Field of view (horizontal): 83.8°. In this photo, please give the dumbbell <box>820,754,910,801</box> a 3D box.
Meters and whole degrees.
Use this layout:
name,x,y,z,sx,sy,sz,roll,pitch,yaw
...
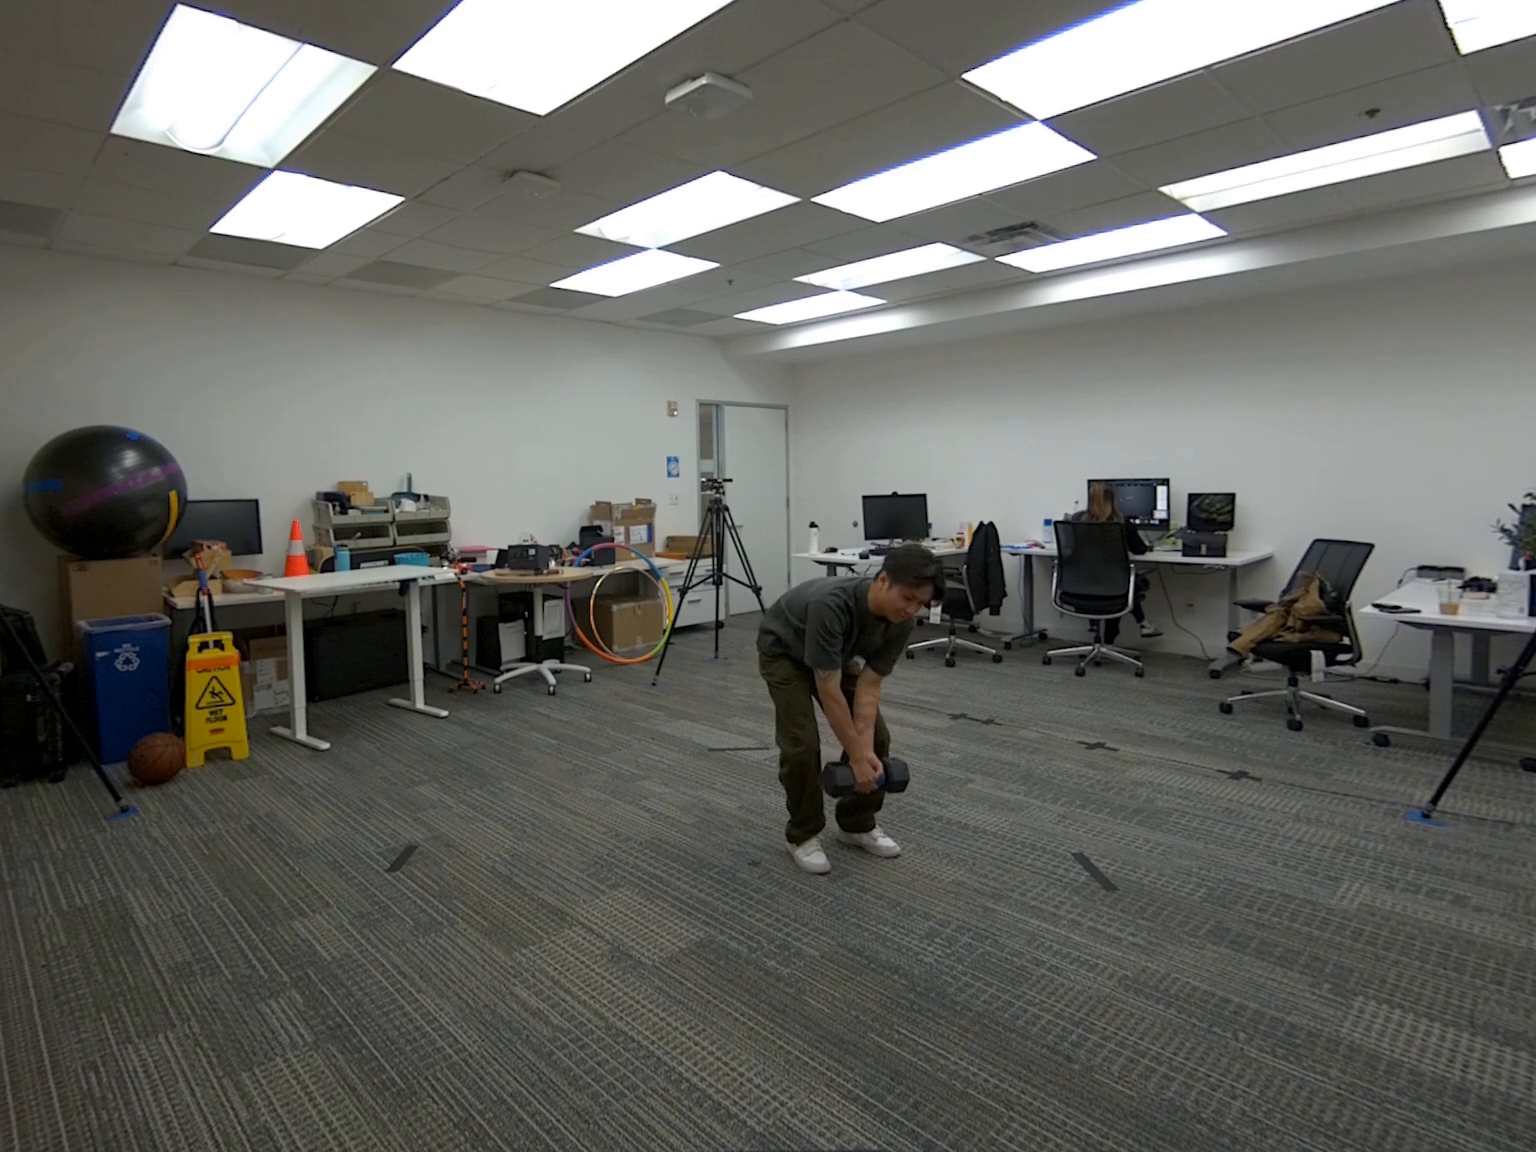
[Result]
name,x,y,z,sx,sy,sz,roll,pitch,yaw
dumbbell,0.338,0.690,2.927,0.288,0.121,0.113,1,32,-22
